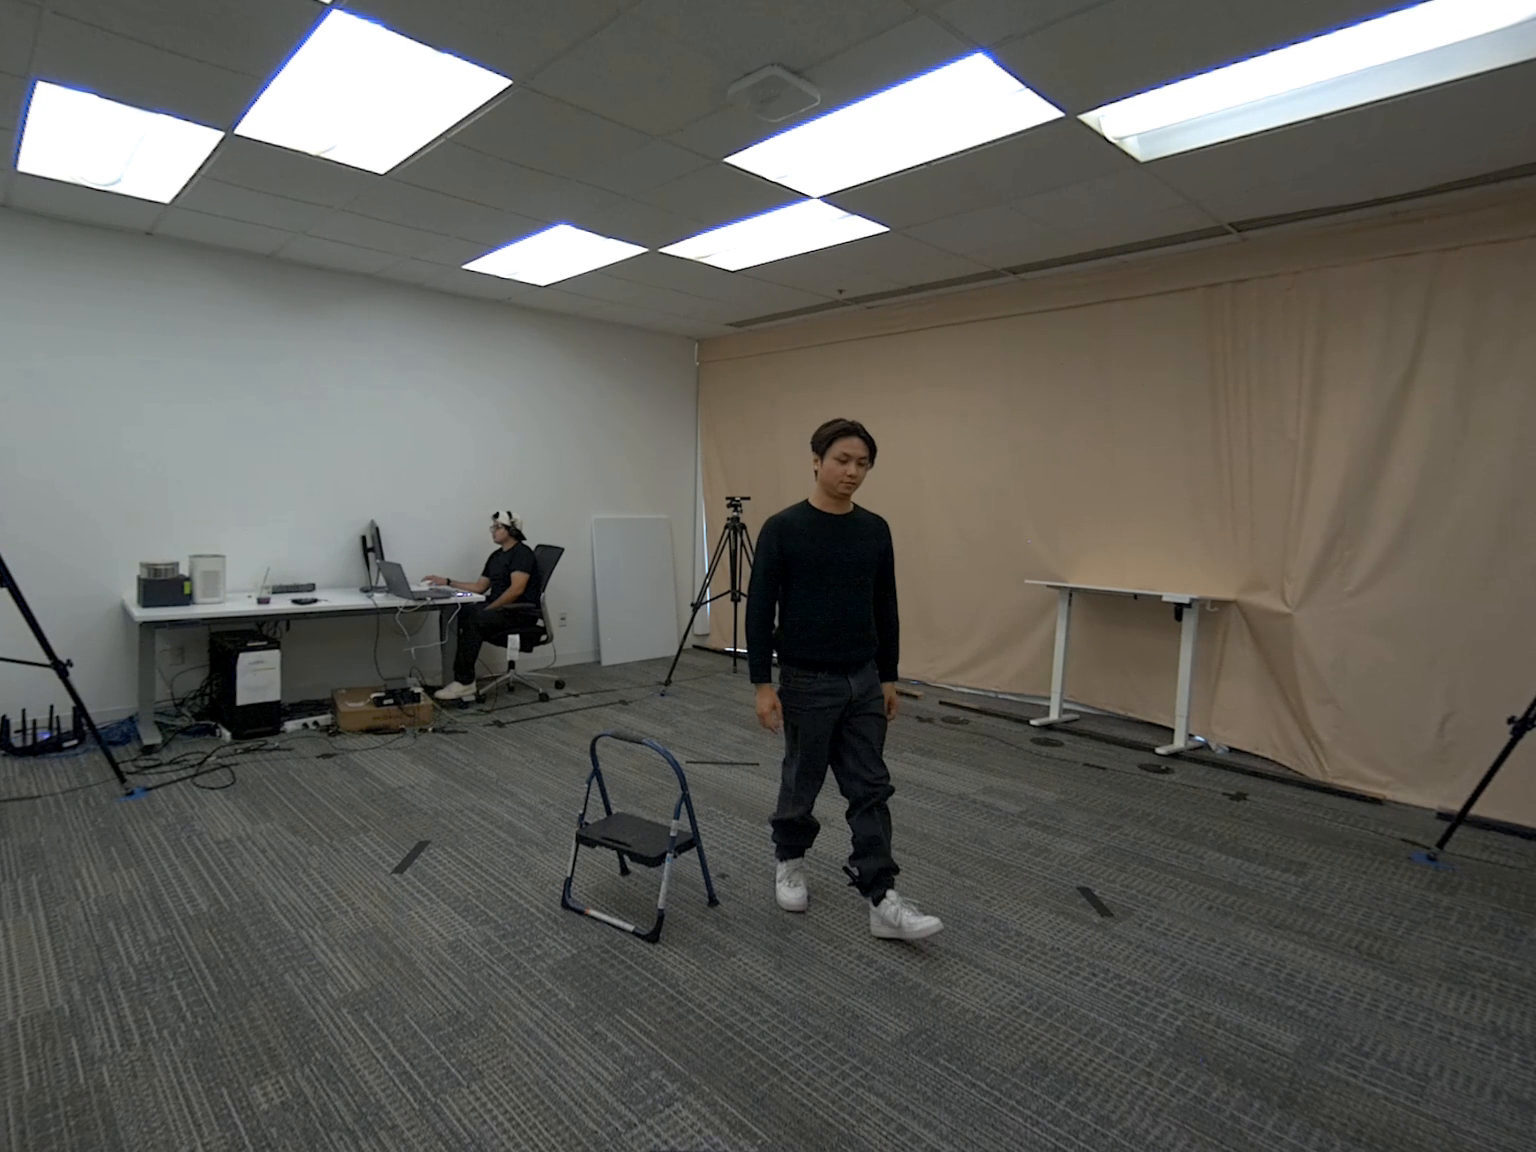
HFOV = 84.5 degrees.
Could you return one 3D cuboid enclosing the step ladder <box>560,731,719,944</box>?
[{"bbox_3d":[-0.432,0.816,2.856,0.440,0.605,0.342,3,3,32],"label":"step ladder"}]
